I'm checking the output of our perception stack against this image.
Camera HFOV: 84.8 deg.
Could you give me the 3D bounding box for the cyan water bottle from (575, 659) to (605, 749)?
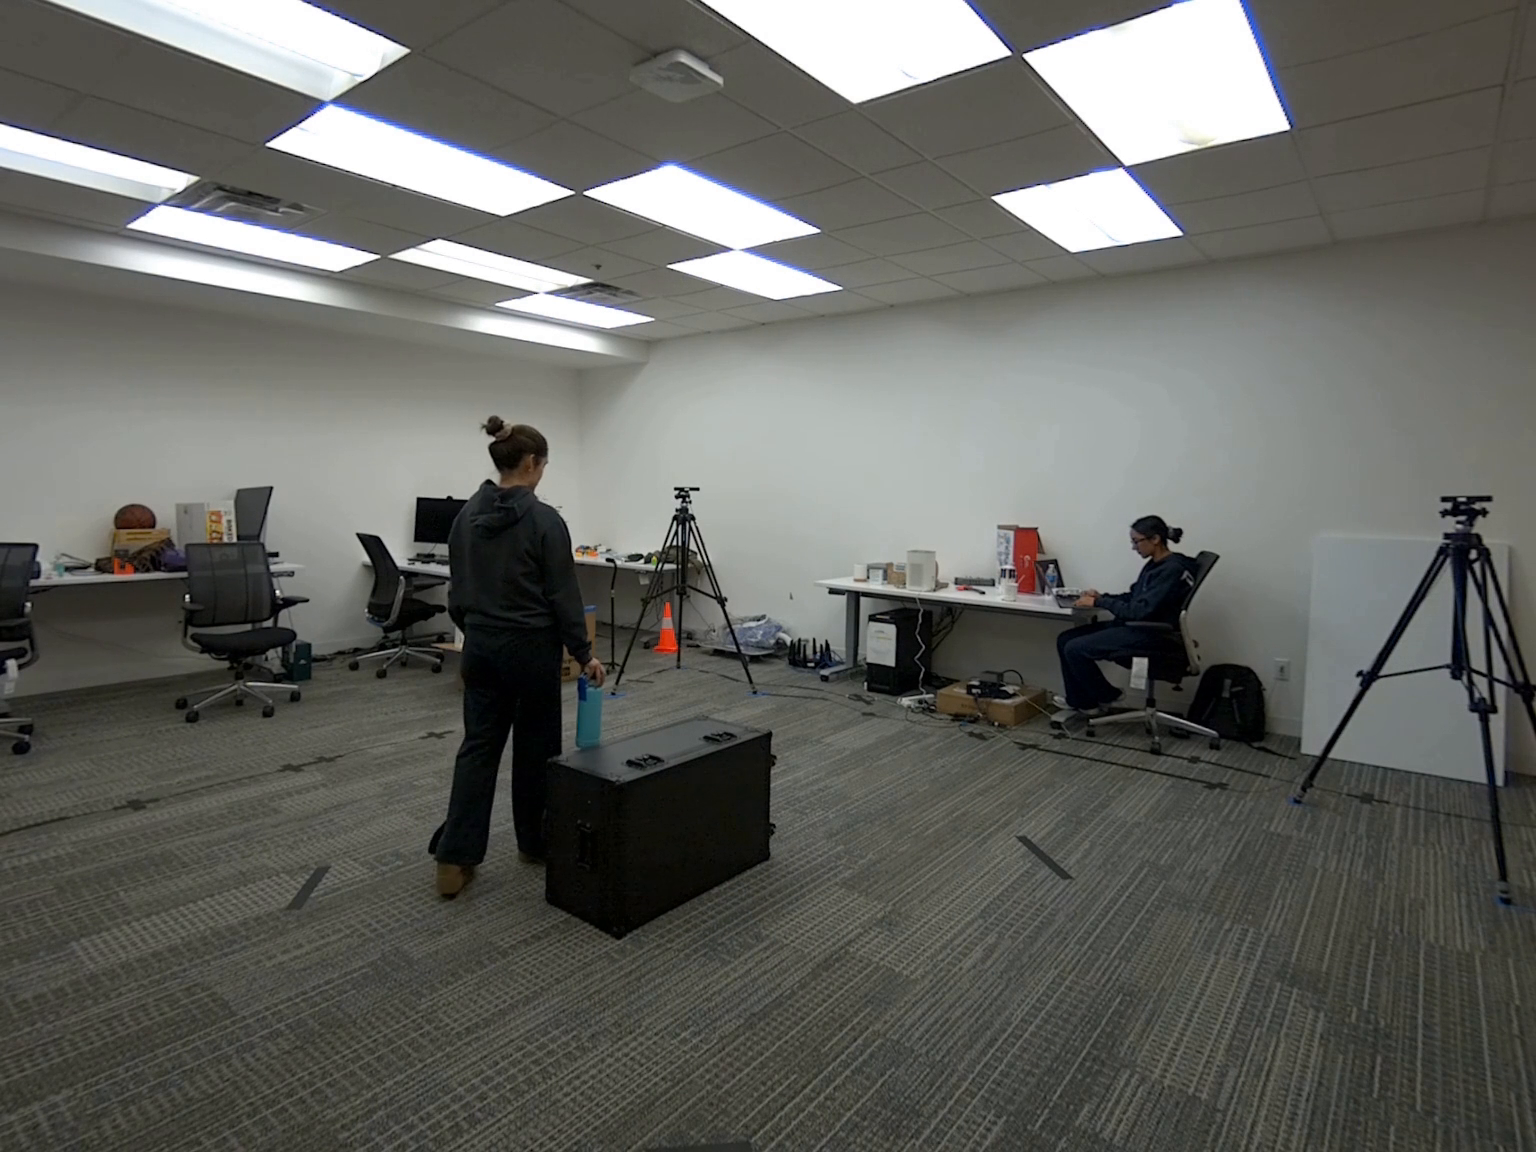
[{"bbox_3d":[-0.660,0.485,3.110,0.092,0.282,0.093,5,3,-2],"label":"cyan water bottle"}]
